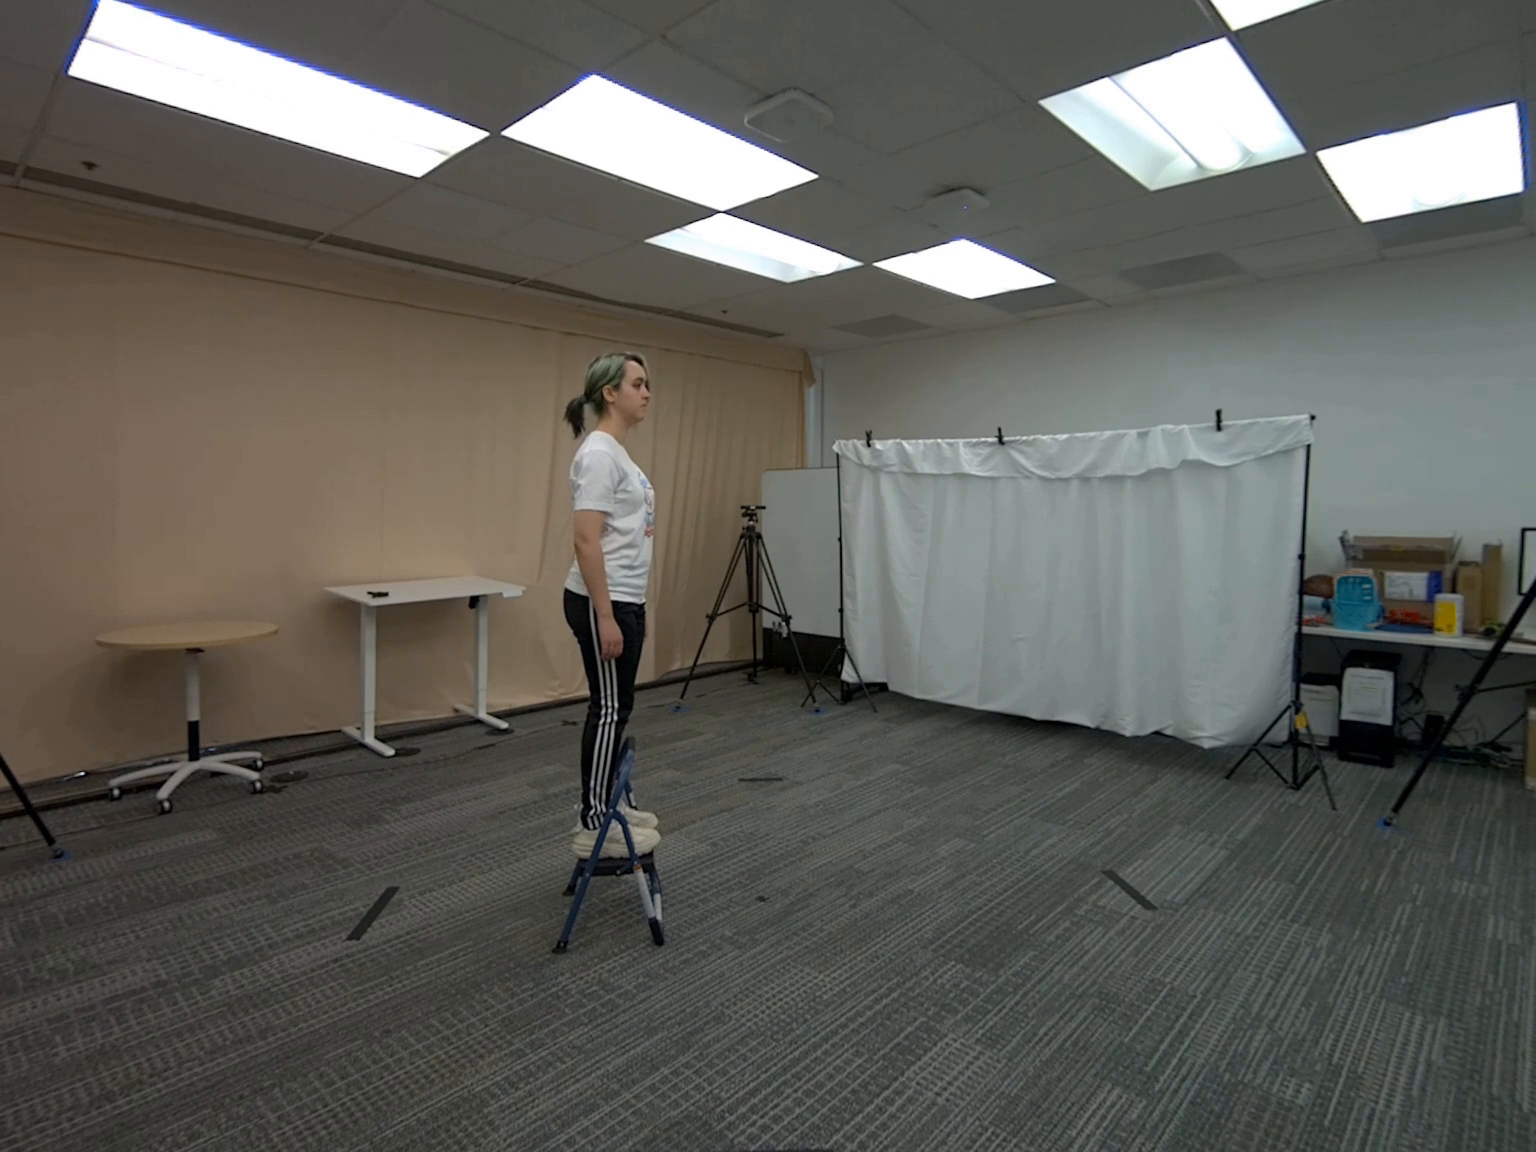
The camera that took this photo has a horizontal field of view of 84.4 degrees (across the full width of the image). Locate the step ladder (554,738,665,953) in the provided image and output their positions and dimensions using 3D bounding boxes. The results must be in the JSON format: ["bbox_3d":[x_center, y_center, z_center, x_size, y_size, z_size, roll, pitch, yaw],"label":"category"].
[{"bbox_3d":[-0.531,0.861,2.836,0.347,0.605,0.435,-2,4,-8],"label":"step ladder"}]
